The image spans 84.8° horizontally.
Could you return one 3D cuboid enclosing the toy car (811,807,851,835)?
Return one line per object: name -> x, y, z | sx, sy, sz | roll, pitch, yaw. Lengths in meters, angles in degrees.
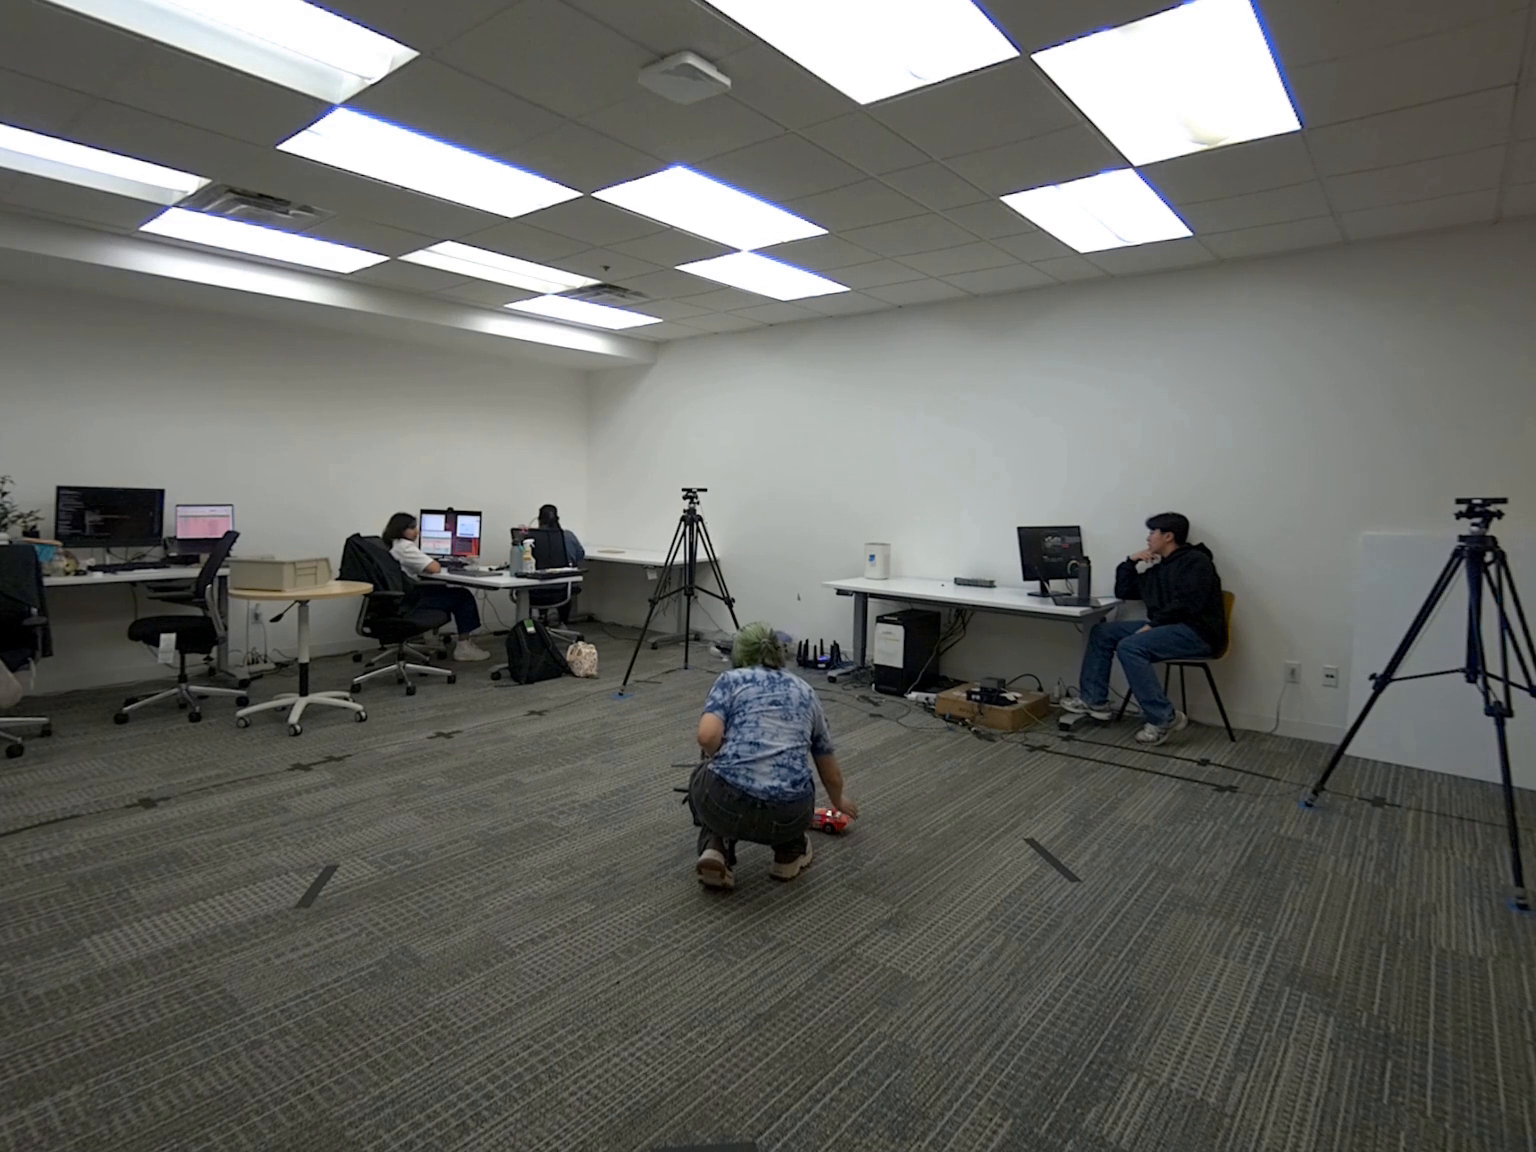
toy car -> 0.209, 1.008, 3.521 | 0.259, 0.083, 0.128 | -9, 1, 20
